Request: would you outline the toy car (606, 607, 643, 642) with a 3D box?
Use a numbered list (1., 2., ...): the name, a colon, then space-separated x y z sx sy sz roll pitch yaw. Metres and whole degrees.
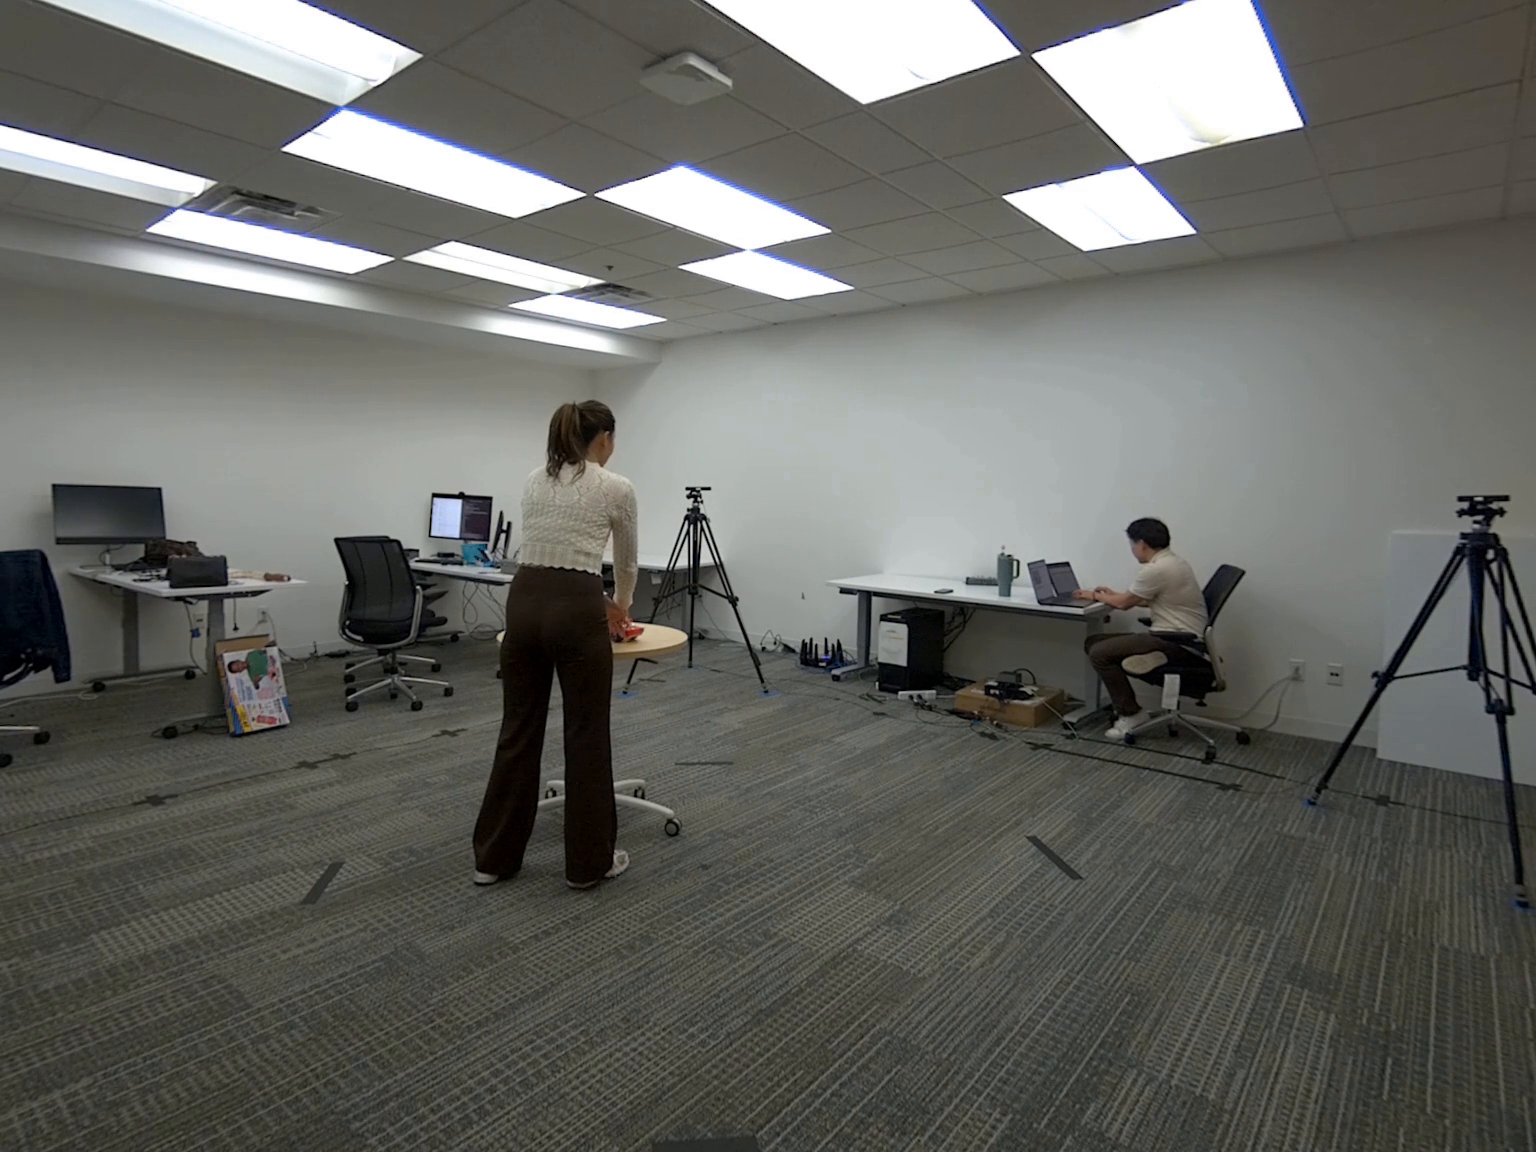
1. toy car: -0.619 0.218 3.385 0.261 0.083 0.127 -8 0 37
